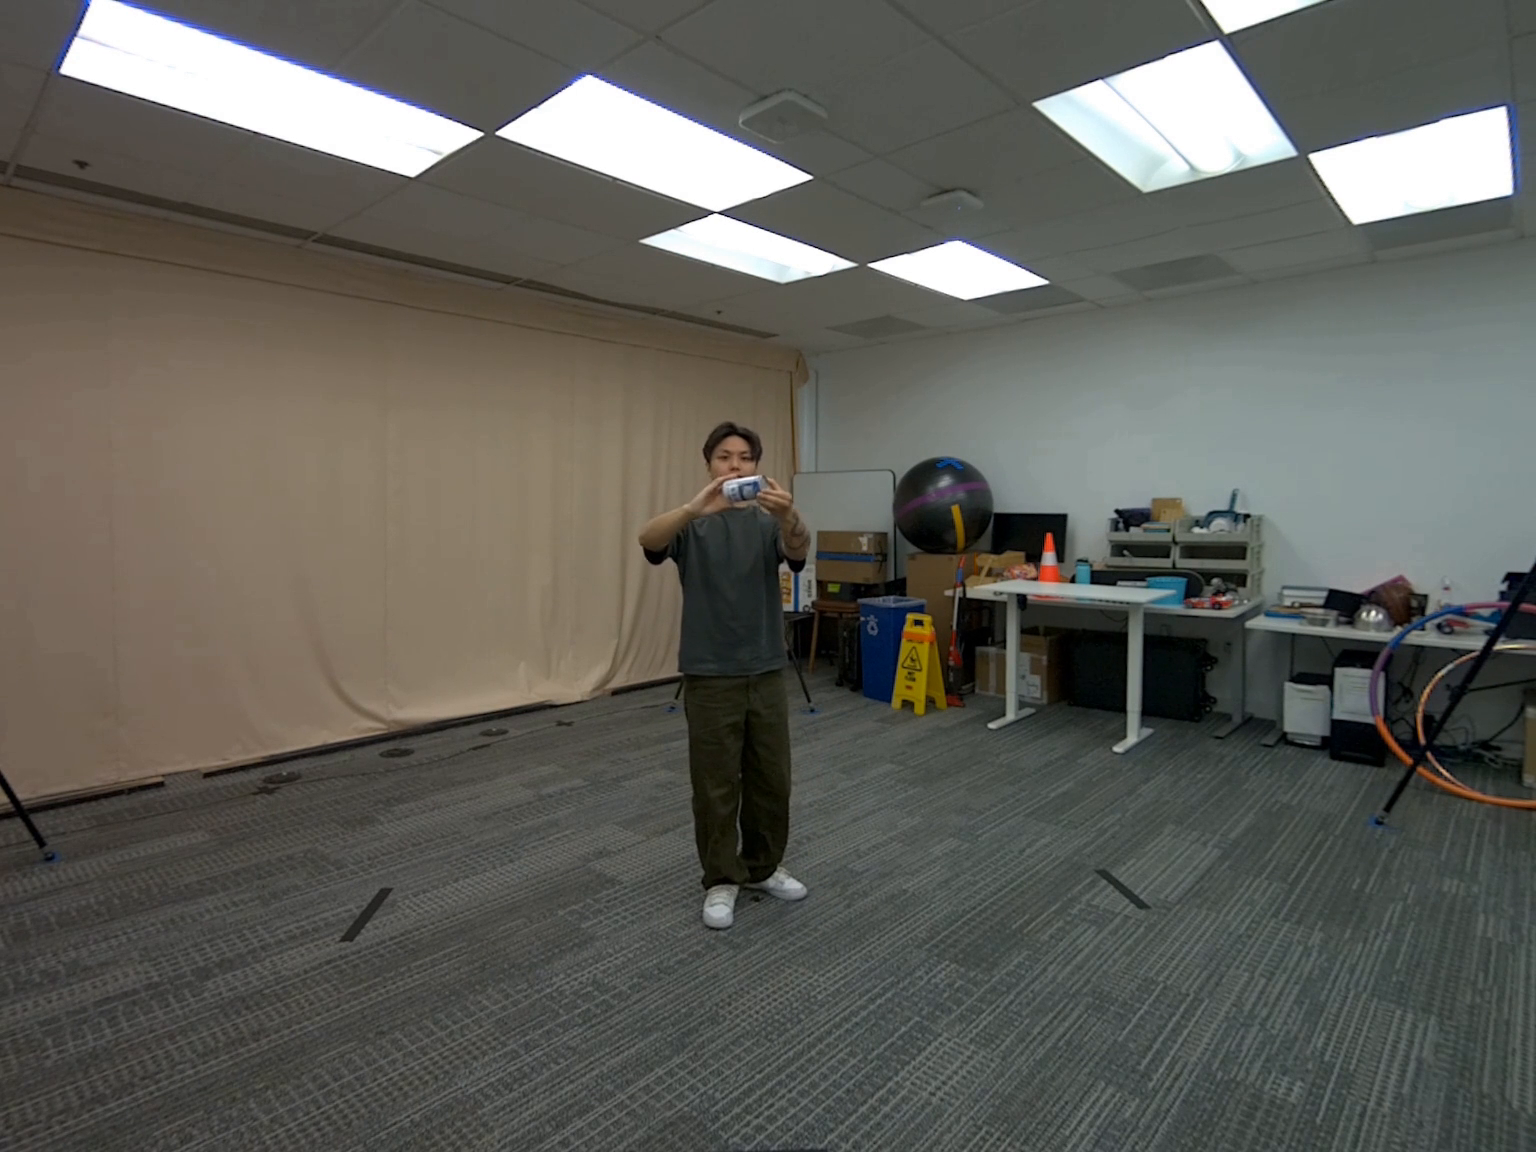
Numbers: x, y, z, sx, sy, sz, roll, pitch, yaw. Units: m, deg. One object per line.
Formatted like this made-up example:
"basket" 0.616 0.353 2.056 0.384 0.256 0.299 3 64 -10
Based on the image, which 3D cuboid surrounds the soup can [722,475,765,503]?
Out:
"soup can" -0.066 -0.244 2.385 0.124 0.067 0.066 -11 0 22
